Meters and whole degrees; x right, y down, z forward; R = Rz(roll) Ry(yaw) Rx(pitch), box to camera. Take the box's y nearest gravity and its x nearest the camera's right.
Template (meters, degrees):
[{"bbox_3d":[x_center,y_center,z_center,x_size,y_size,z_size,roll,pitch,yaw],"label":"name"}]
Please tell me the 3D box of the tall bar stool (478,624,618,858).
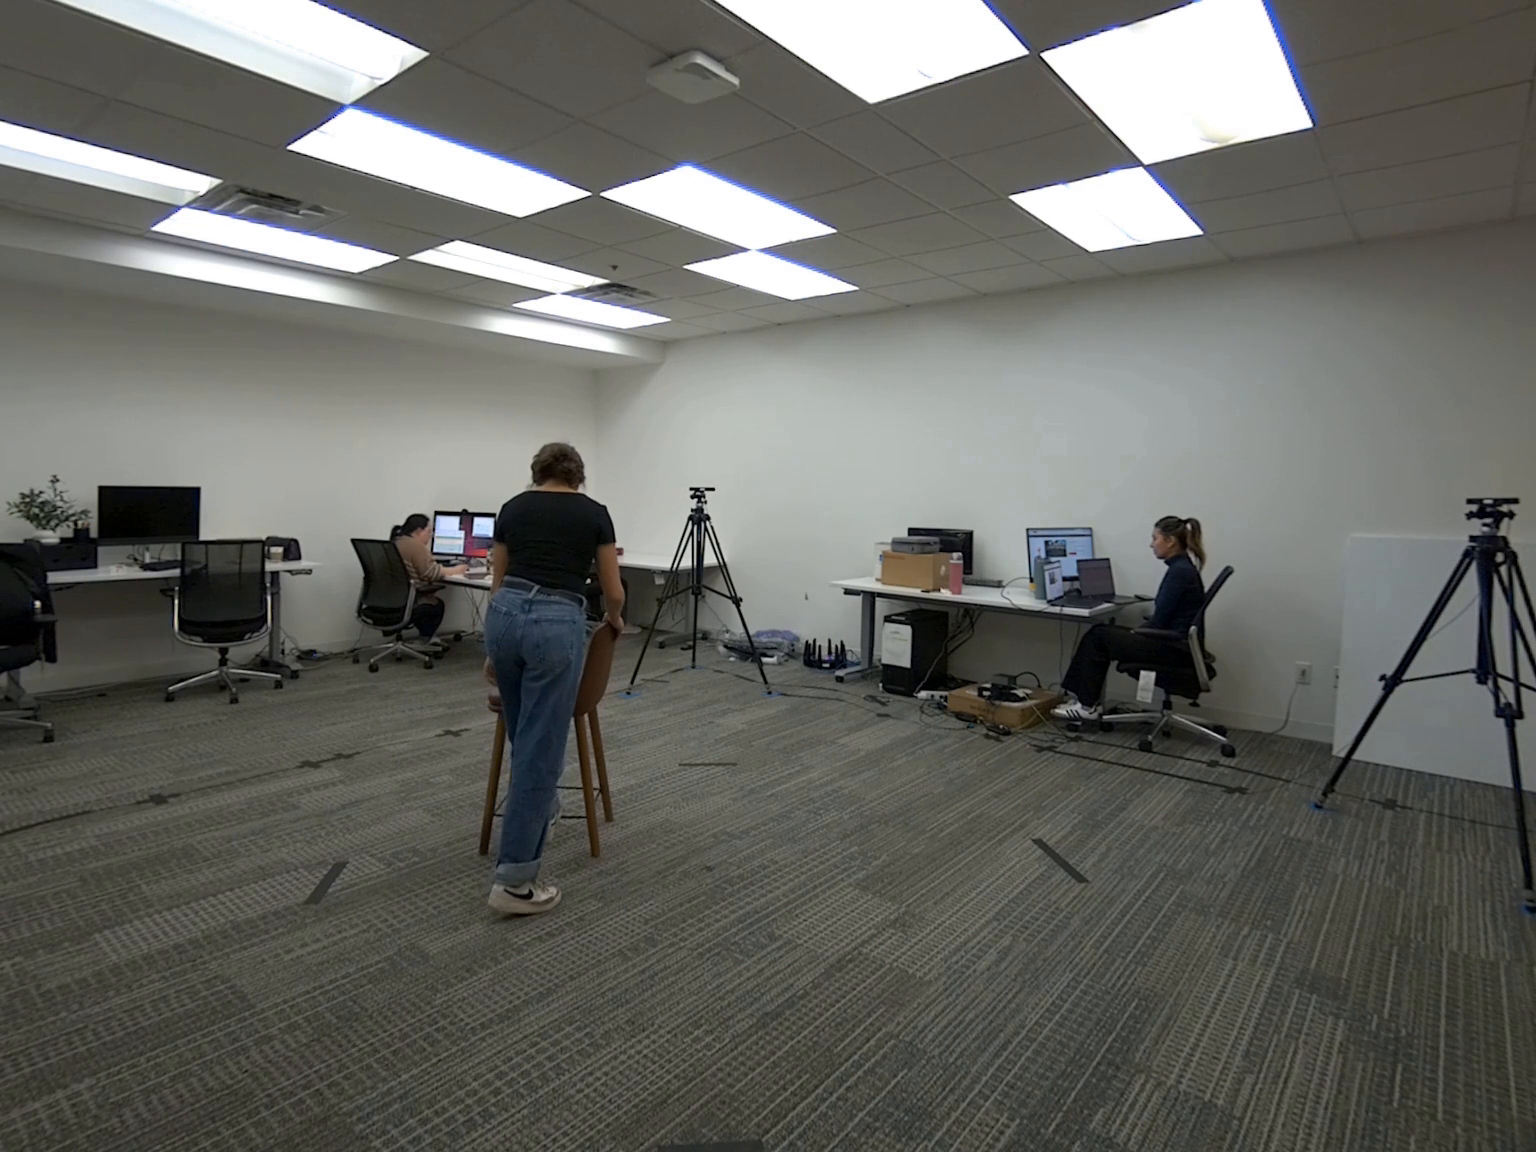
[{"bbox_3d":[-0.864,0.597,3.364,0.468,0.888,0.457,3,2,1],"label":"tall bar stool"}]
